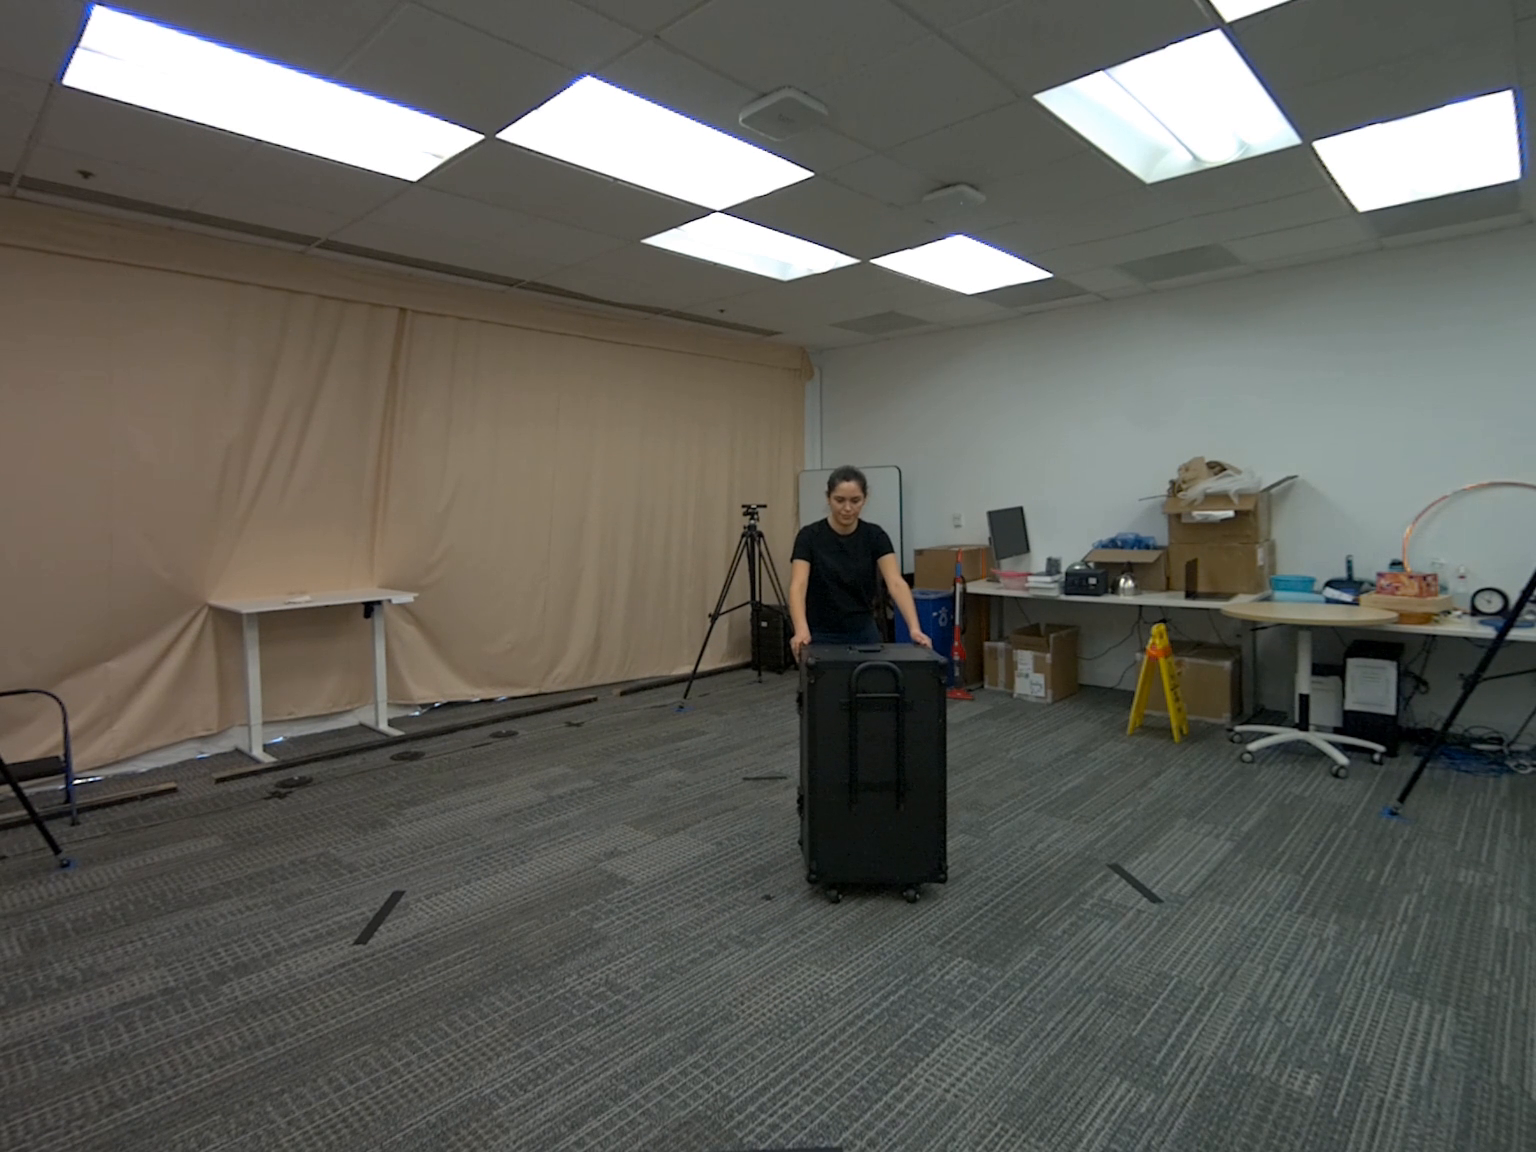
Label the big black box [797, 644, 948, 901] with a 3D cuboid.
[{"bbox_3d":[0.387,0.701,3.064,0.521,0.859,0.397,0,4,-1],"label":"big black box"}]
